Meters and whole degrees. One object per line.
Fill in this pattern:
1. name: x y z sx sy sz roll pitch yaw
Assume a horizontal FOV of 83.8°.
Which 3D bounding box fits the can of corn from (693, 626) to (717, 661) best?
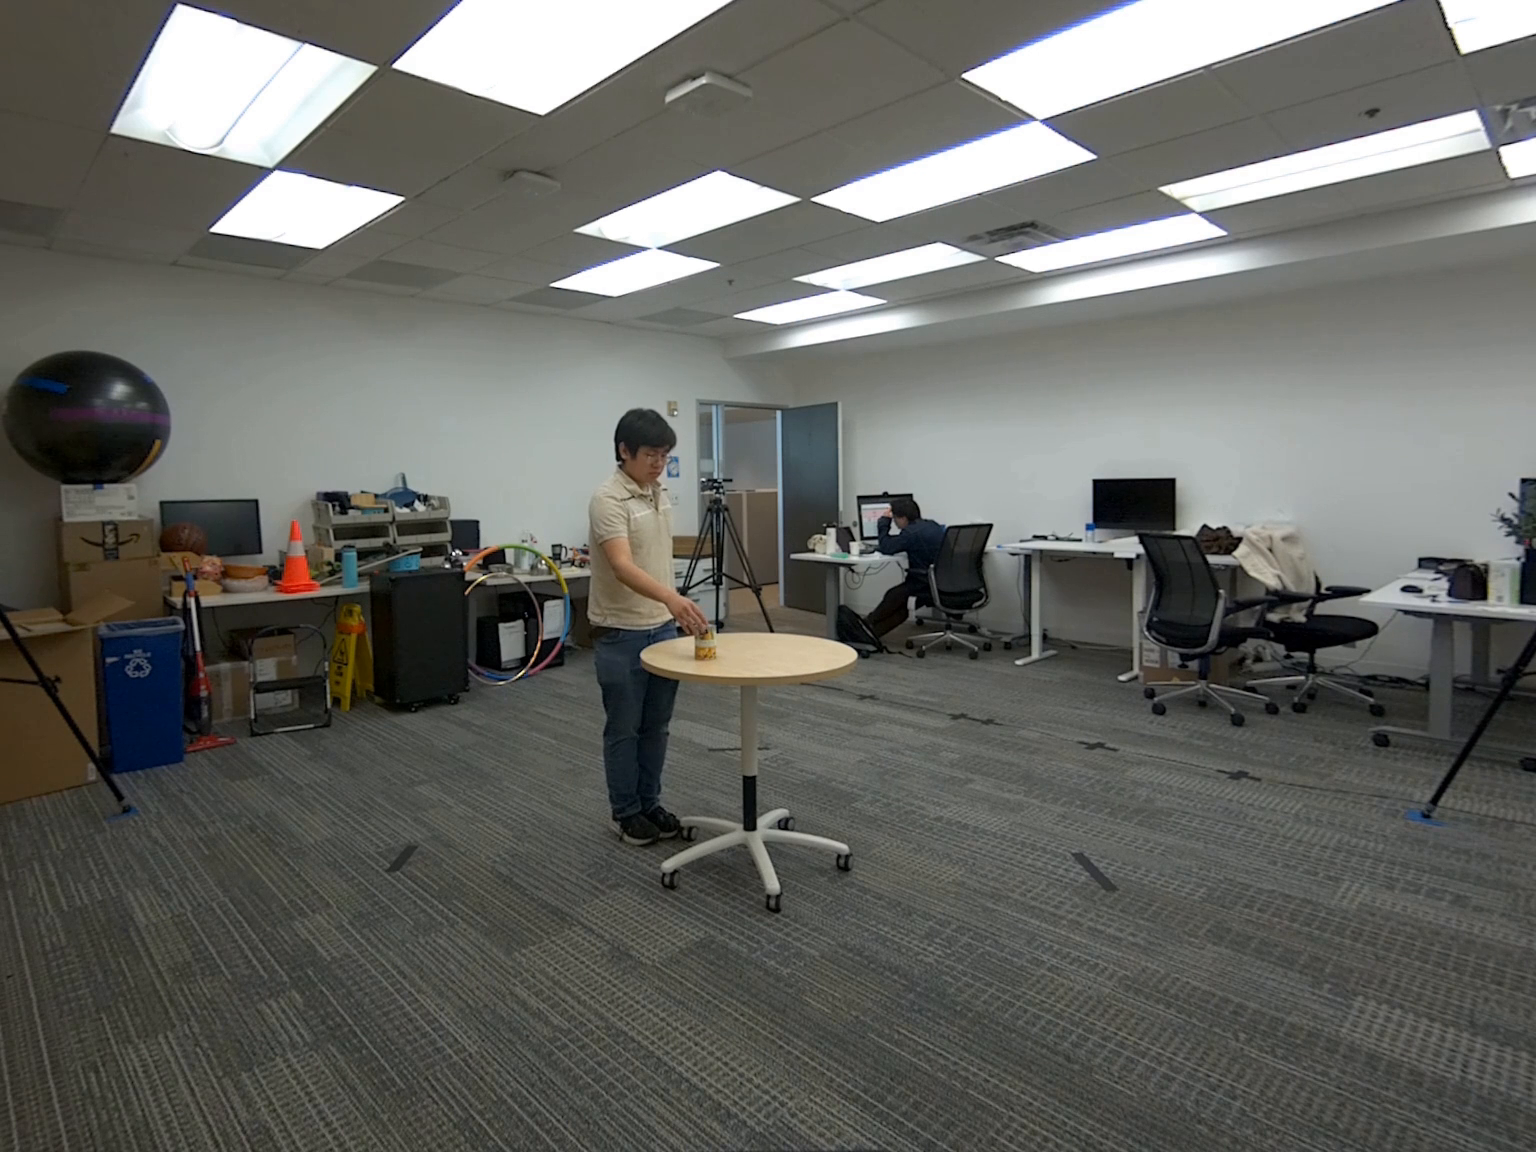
1. can of corn: -0.215 0.226 2.934 0.074 0.111 0.074 -2 3 -2
